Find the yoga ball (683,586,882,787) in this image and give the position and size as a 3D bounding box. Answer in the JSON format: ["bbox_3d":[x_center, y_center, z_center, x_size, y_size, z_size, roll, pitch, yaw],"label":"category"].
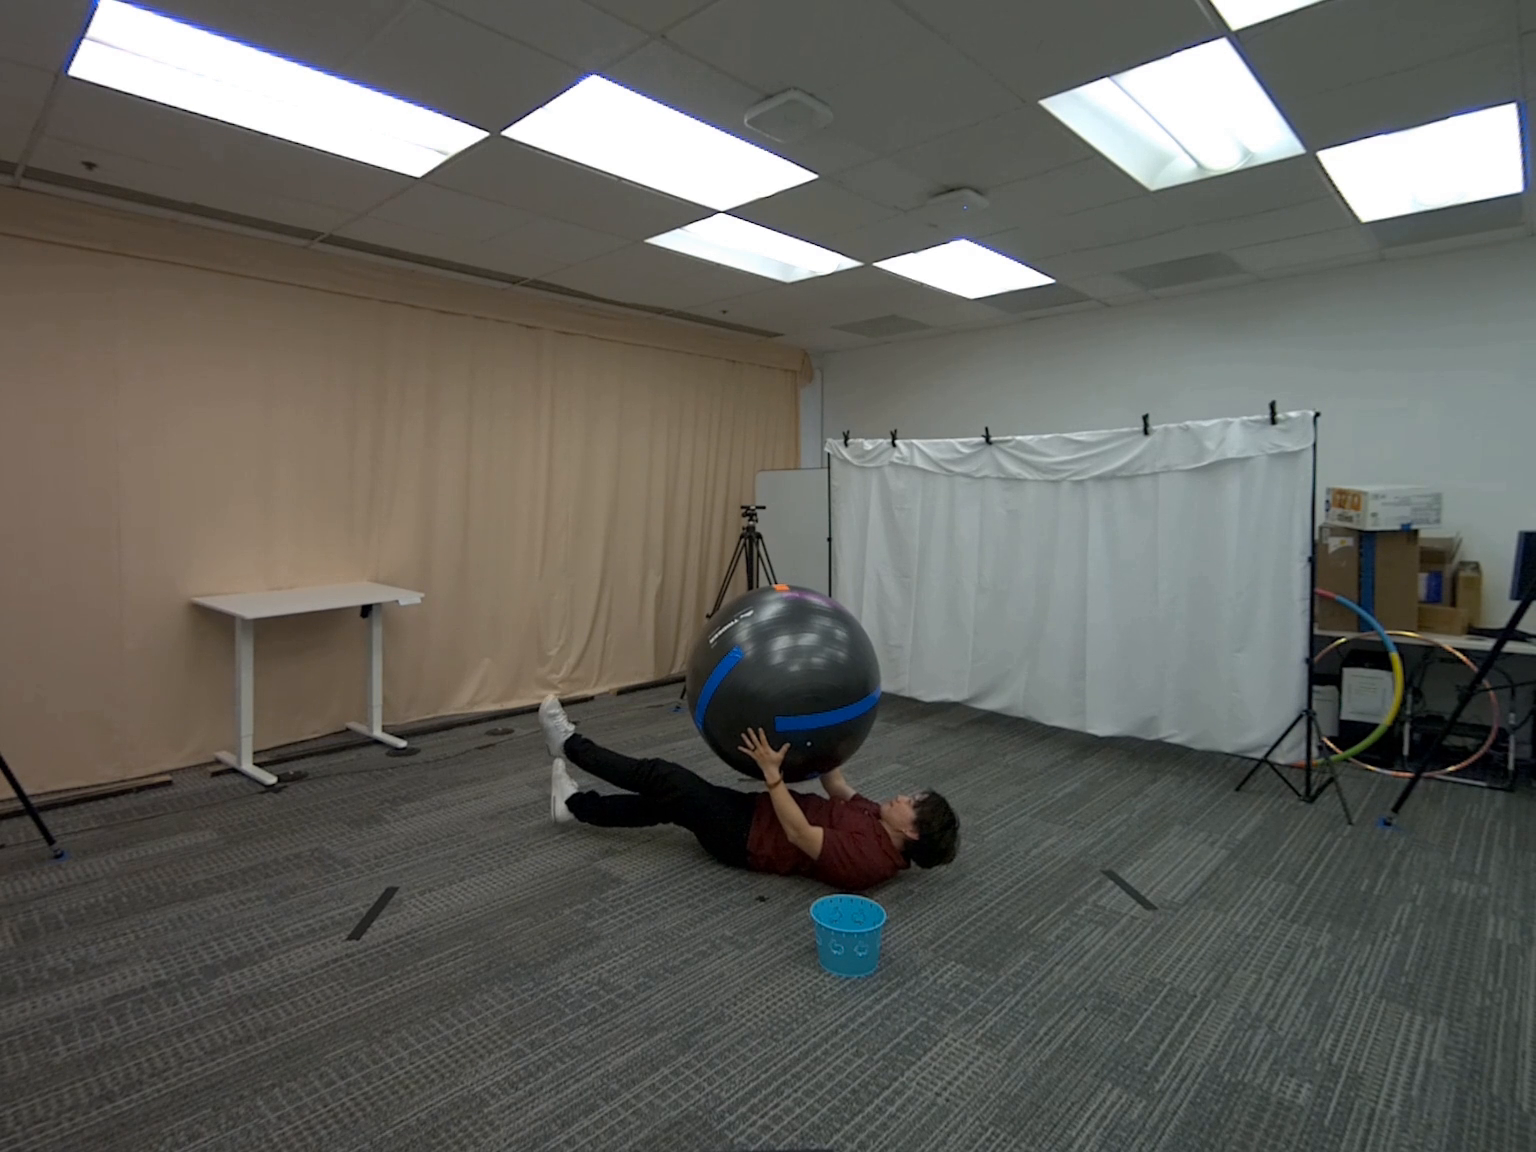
[{"bbox_3d":[0.057,0.418,3.295,0.757,0.756,0.760,0,4,-2],"label":"yoga ball"}]
